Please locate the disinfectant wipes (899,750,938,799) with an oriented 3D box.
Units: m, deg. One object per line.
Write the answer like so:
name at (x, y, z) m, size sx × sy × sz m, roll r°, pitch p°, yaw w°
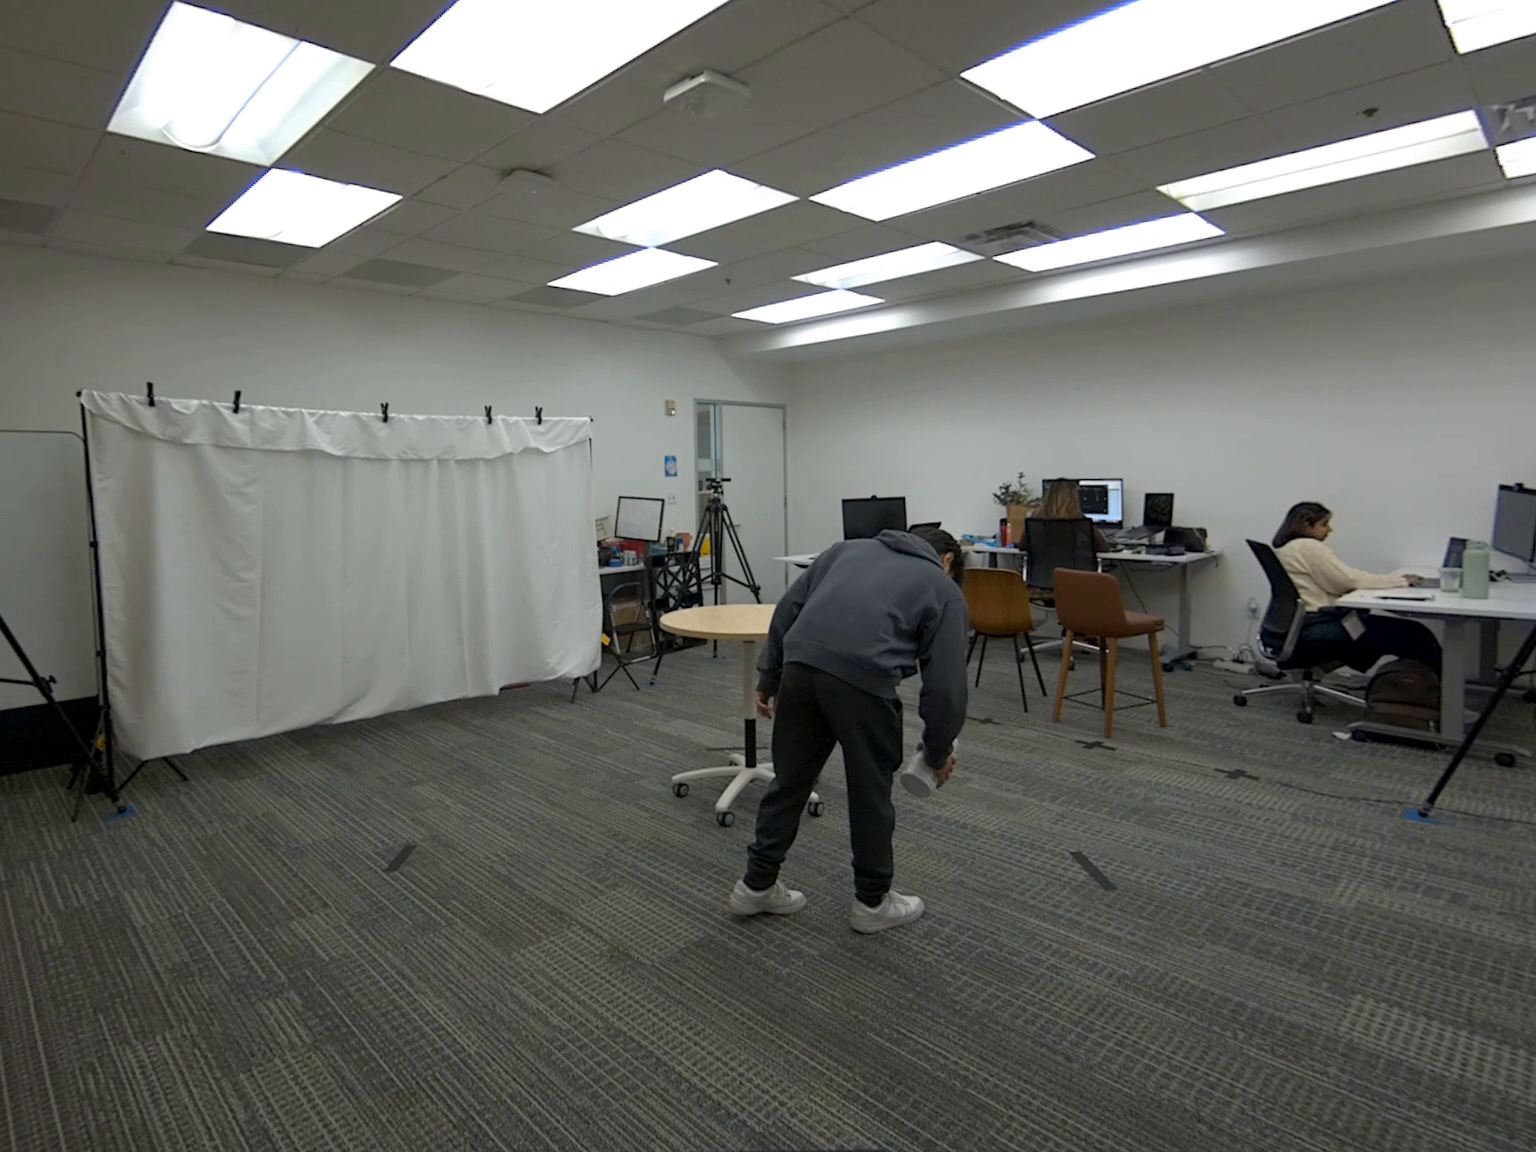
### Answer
disinfectant wipes at (0.532, 0.602, 2.743) m, size 0.121 × 0.114 × 0.217 m, roll 3°, pitch 39°, yaw 42°
